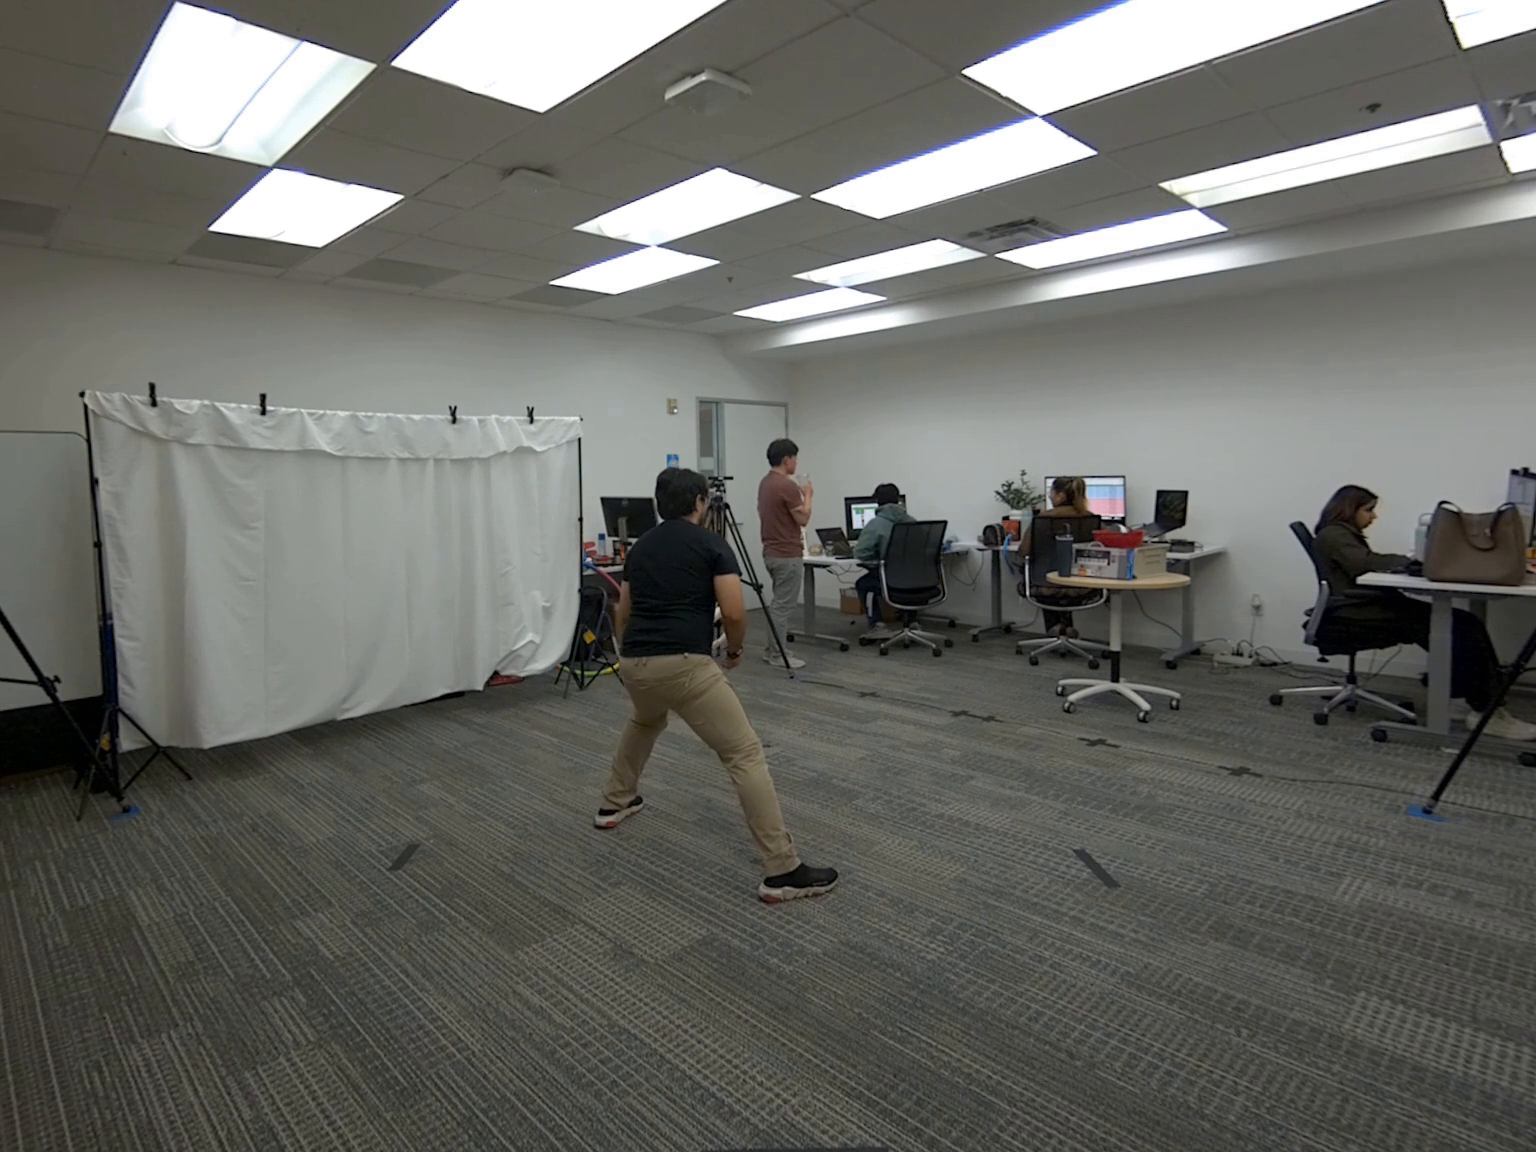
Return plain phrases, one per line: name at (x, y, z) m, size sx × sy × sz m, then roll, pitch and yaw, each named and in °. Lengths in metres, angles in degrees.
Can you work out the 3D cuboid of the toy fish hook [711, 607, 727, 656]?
toy fish hook at (-0.282, 0.280, 3.796) m, size 0.050 × 0.220 × 0.500 m, roll 22°, pitch 32°, yaw 30°
